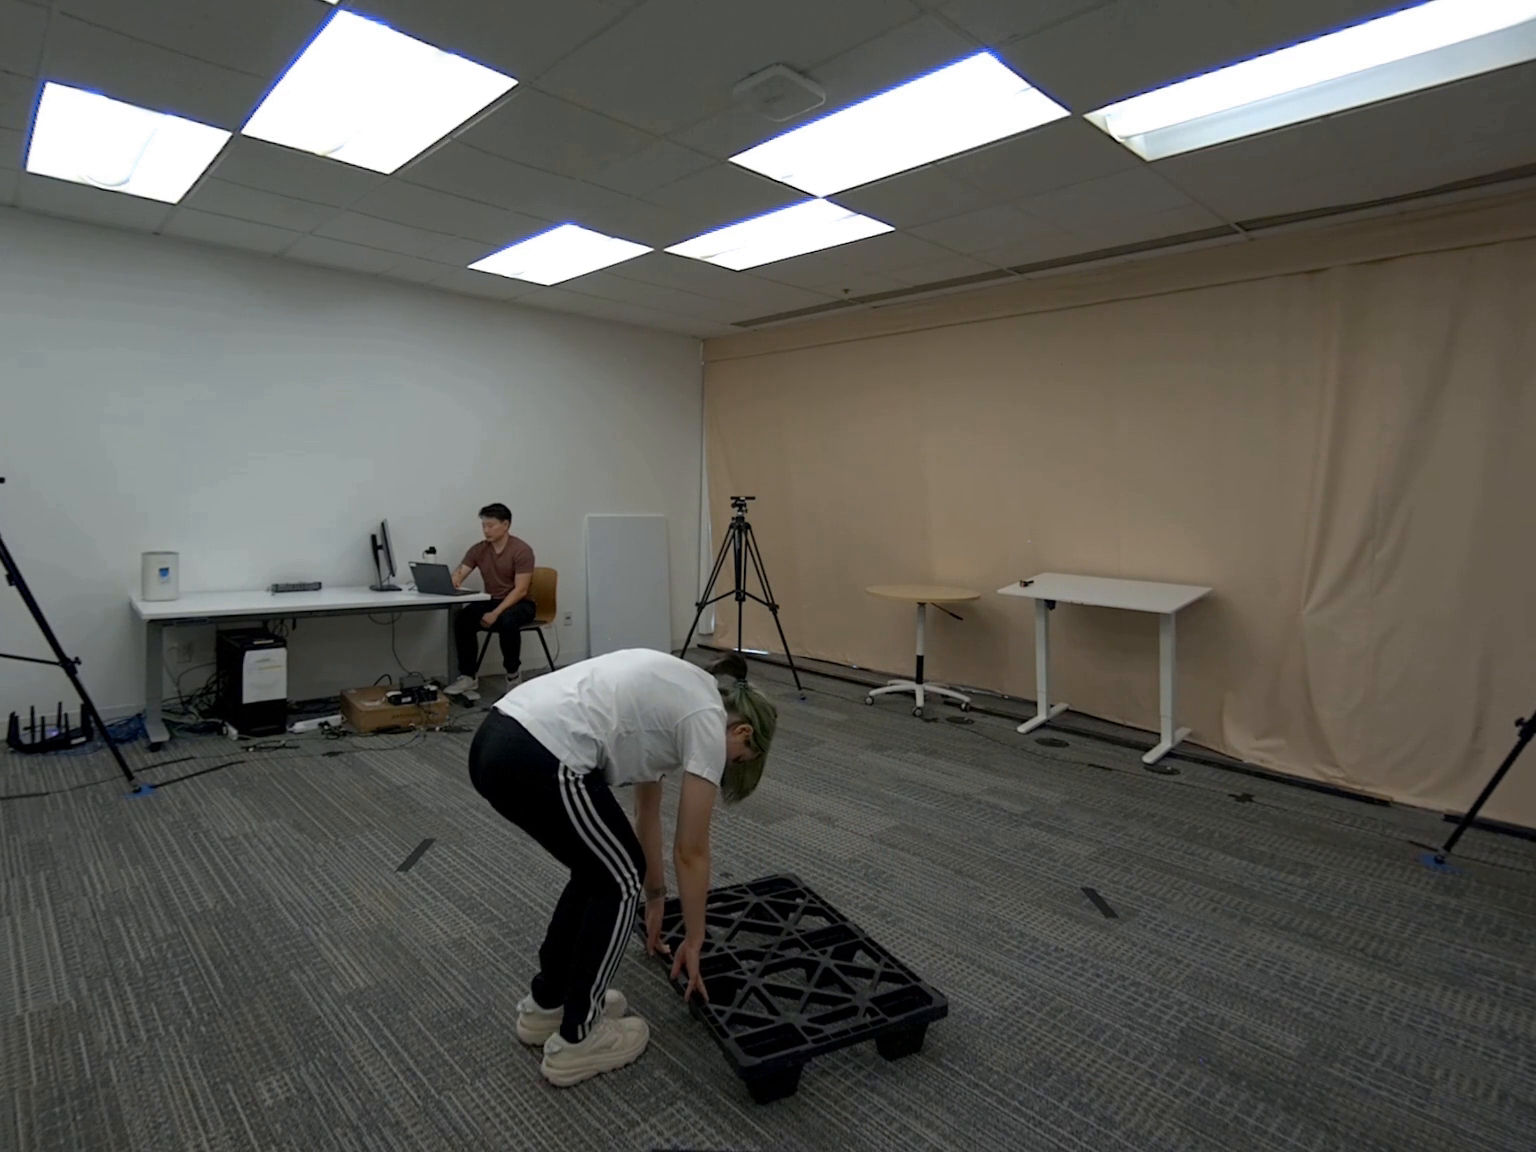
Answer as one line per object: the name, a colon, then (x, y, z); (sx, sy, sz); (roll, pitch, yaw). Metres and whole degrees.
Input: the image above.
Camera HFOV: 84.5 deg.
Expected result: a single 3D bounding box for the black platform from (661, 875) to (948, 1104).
black platform: (0.004, 1.111, 2.349); (0.594, 0.143, 0.824); (-2, 6, -28)
